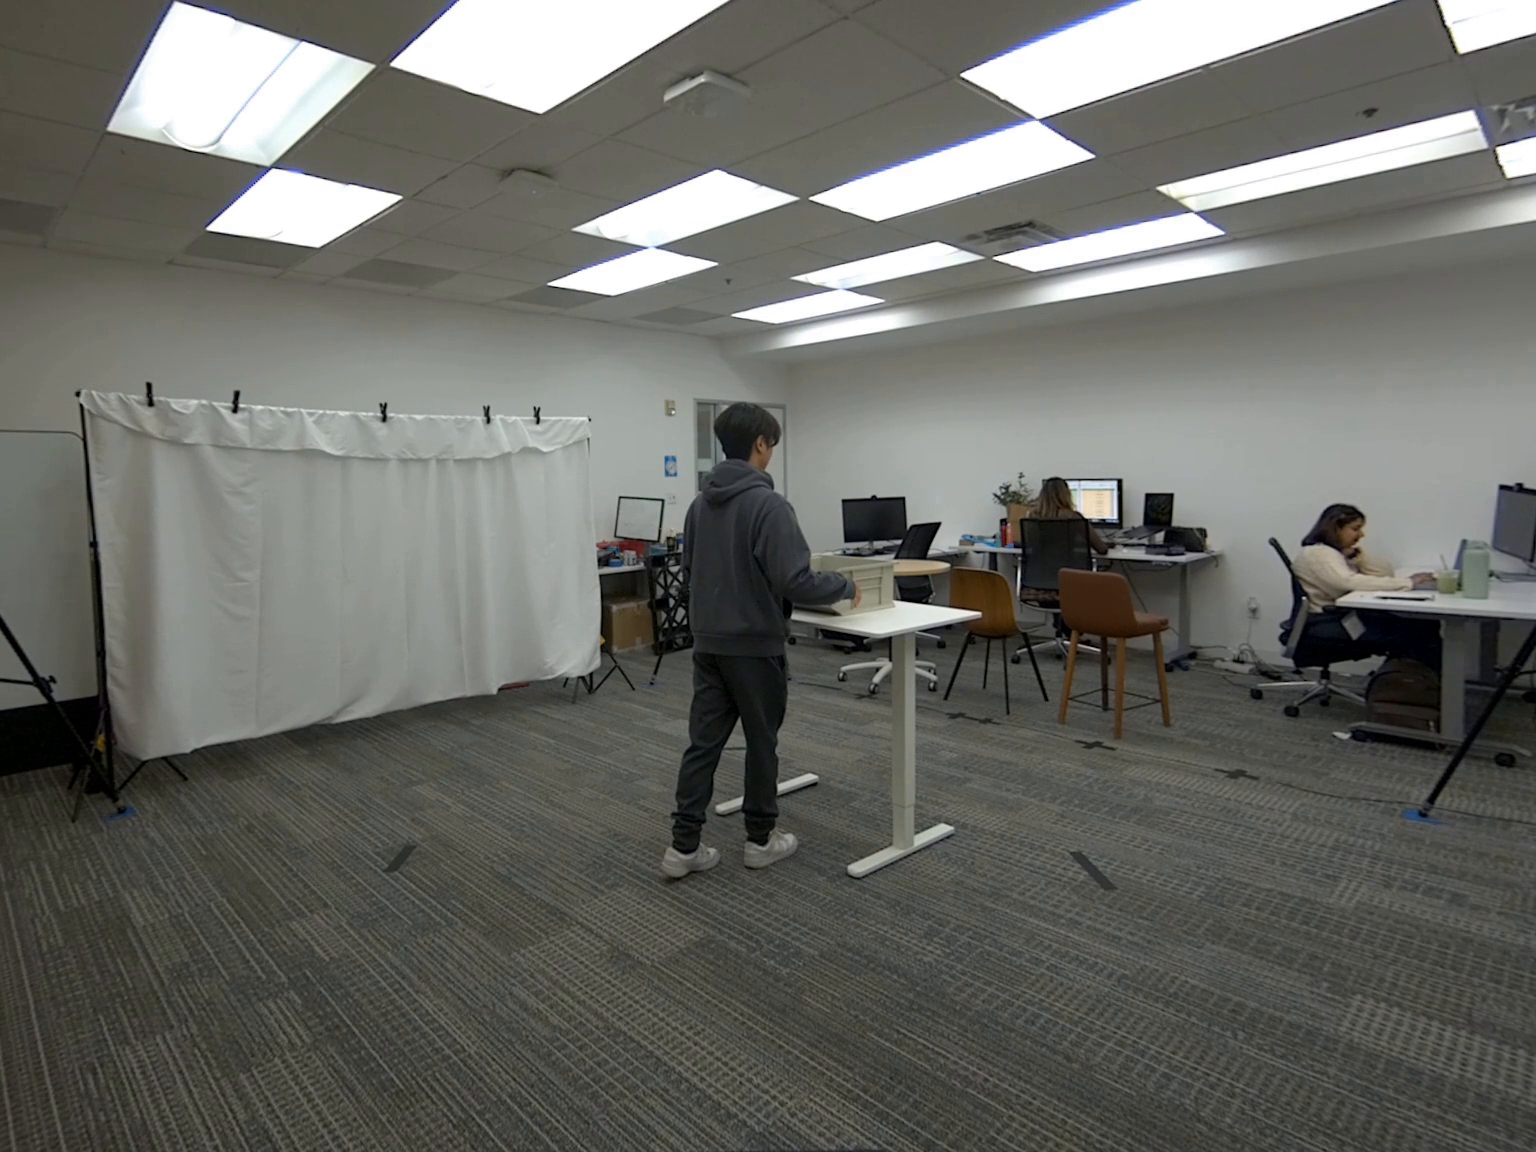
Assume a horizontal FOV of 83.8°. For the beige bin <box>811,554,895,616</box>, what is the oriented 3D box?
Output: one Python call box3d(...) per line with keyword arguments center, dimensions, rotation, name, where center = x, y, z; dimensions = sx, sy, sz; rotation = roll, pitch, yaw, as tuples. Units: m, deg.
box3d(center=(0.239, 0.034, 3.400), dimensions=(0.367, 0.188, 0.435), rotation=(-6, 8, -40), name="beige bin")
